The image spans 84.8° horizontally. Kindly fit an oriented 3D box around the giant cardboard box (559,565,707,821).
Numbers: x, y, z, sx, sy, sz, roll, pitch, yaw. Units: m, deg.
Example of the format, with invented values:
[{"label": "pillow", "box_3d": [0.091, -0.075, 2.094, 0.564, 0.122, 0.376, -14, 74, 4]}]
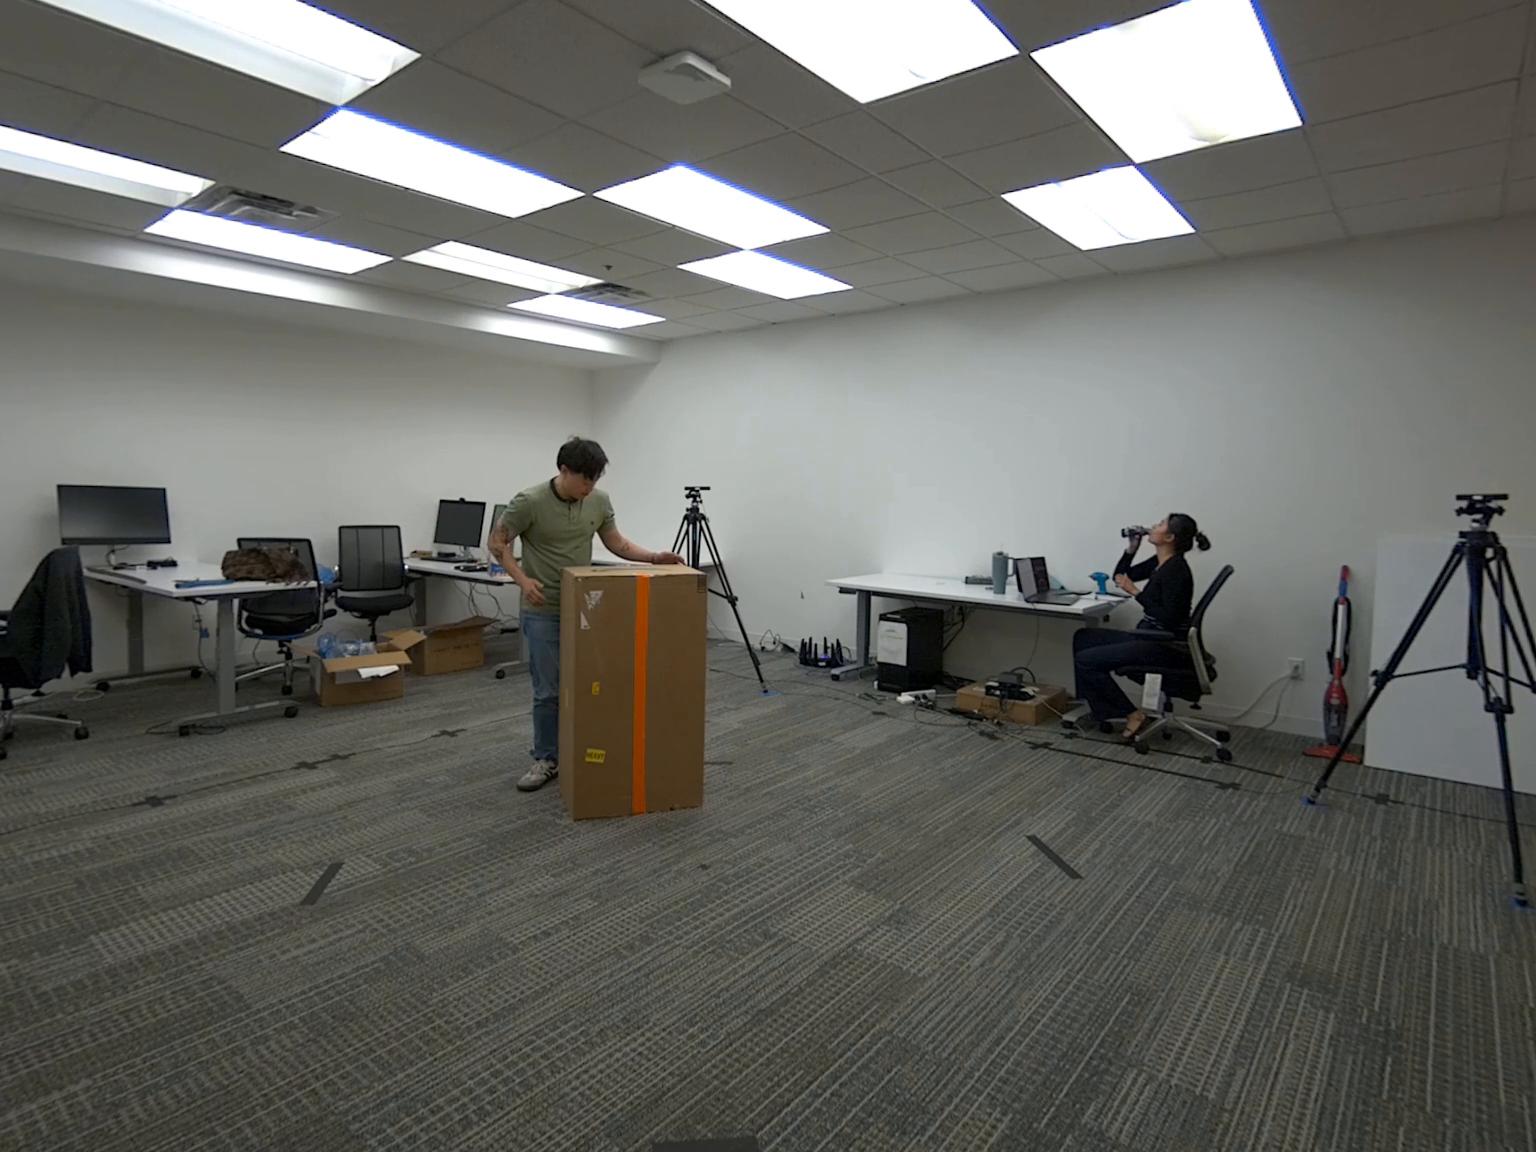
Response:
[{"label": "giant cardboard box", "box_3d": [-0.623, 0.479, 3.794, 0.566, 1.023, 0.436, 0, 3, -20]}]
